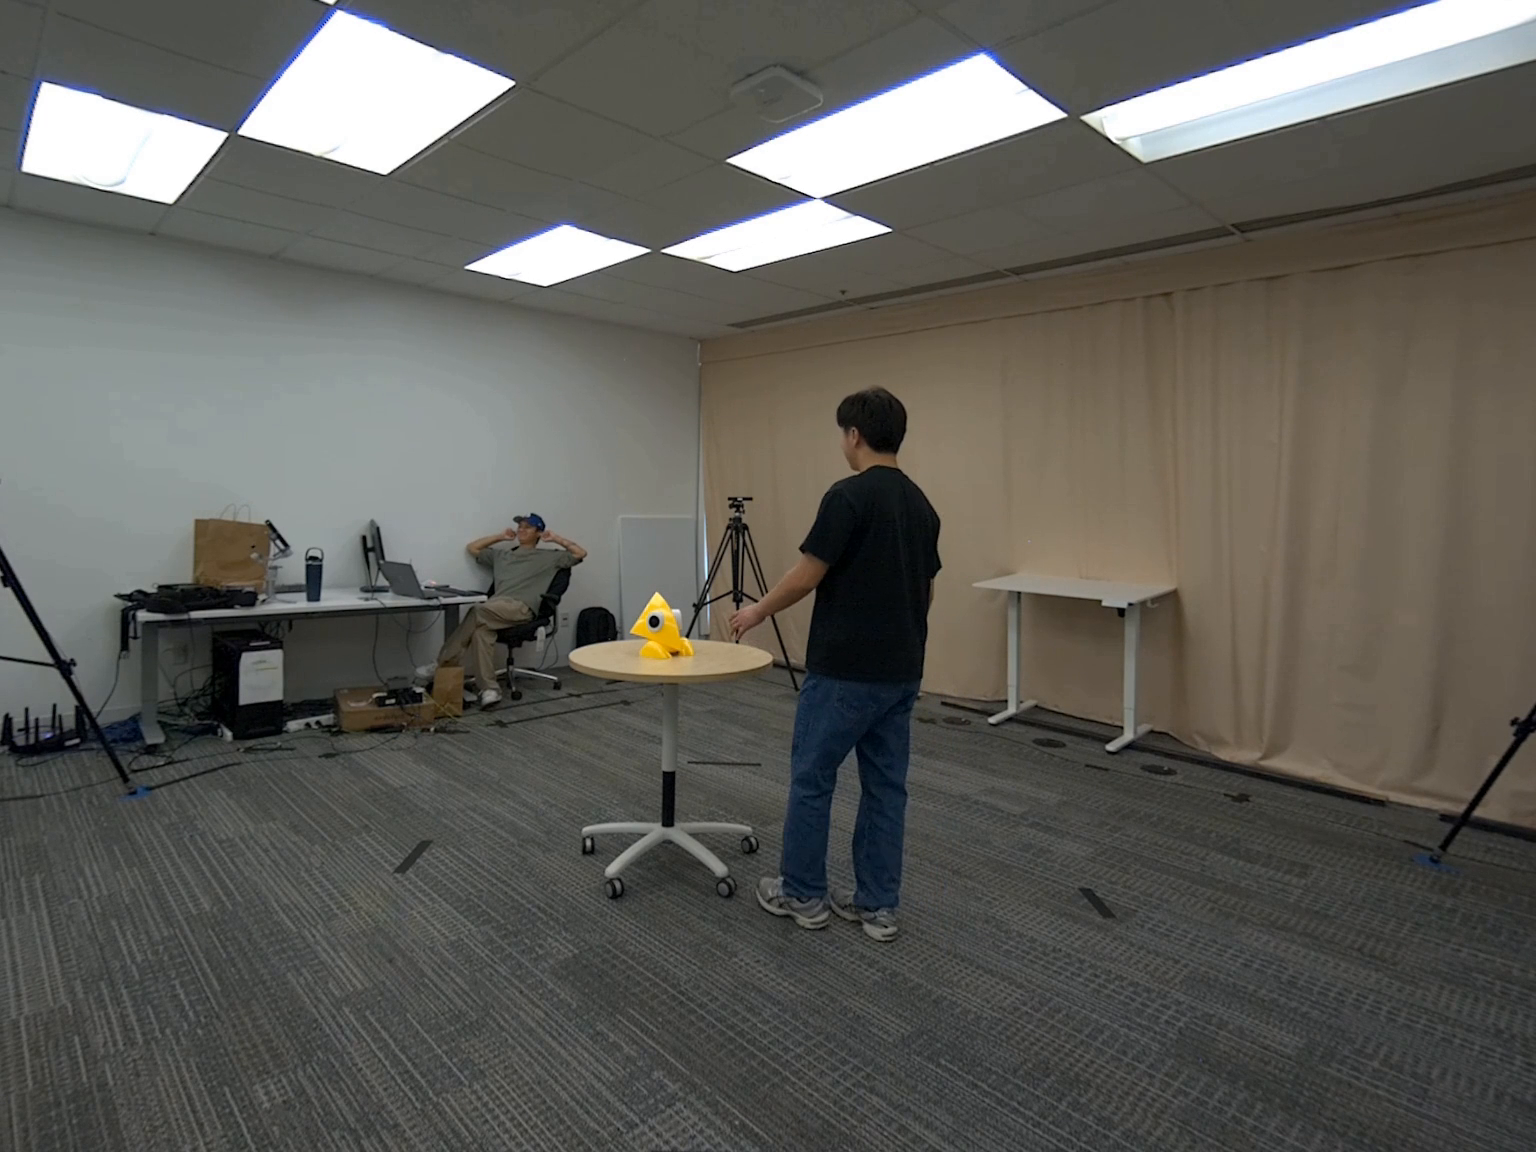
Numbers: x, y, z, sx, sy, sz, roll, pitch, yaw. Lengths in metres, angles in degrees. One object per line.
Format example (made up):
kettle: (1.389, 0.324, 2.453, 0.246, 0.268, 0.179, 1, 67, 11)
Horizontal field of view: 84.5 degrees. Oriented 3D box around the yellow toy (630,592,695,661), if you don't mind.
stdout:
yellow toy: (-0.401, 0.183, 3.201, 0.200, 0.230, 0.198, -2, 5, -43)
